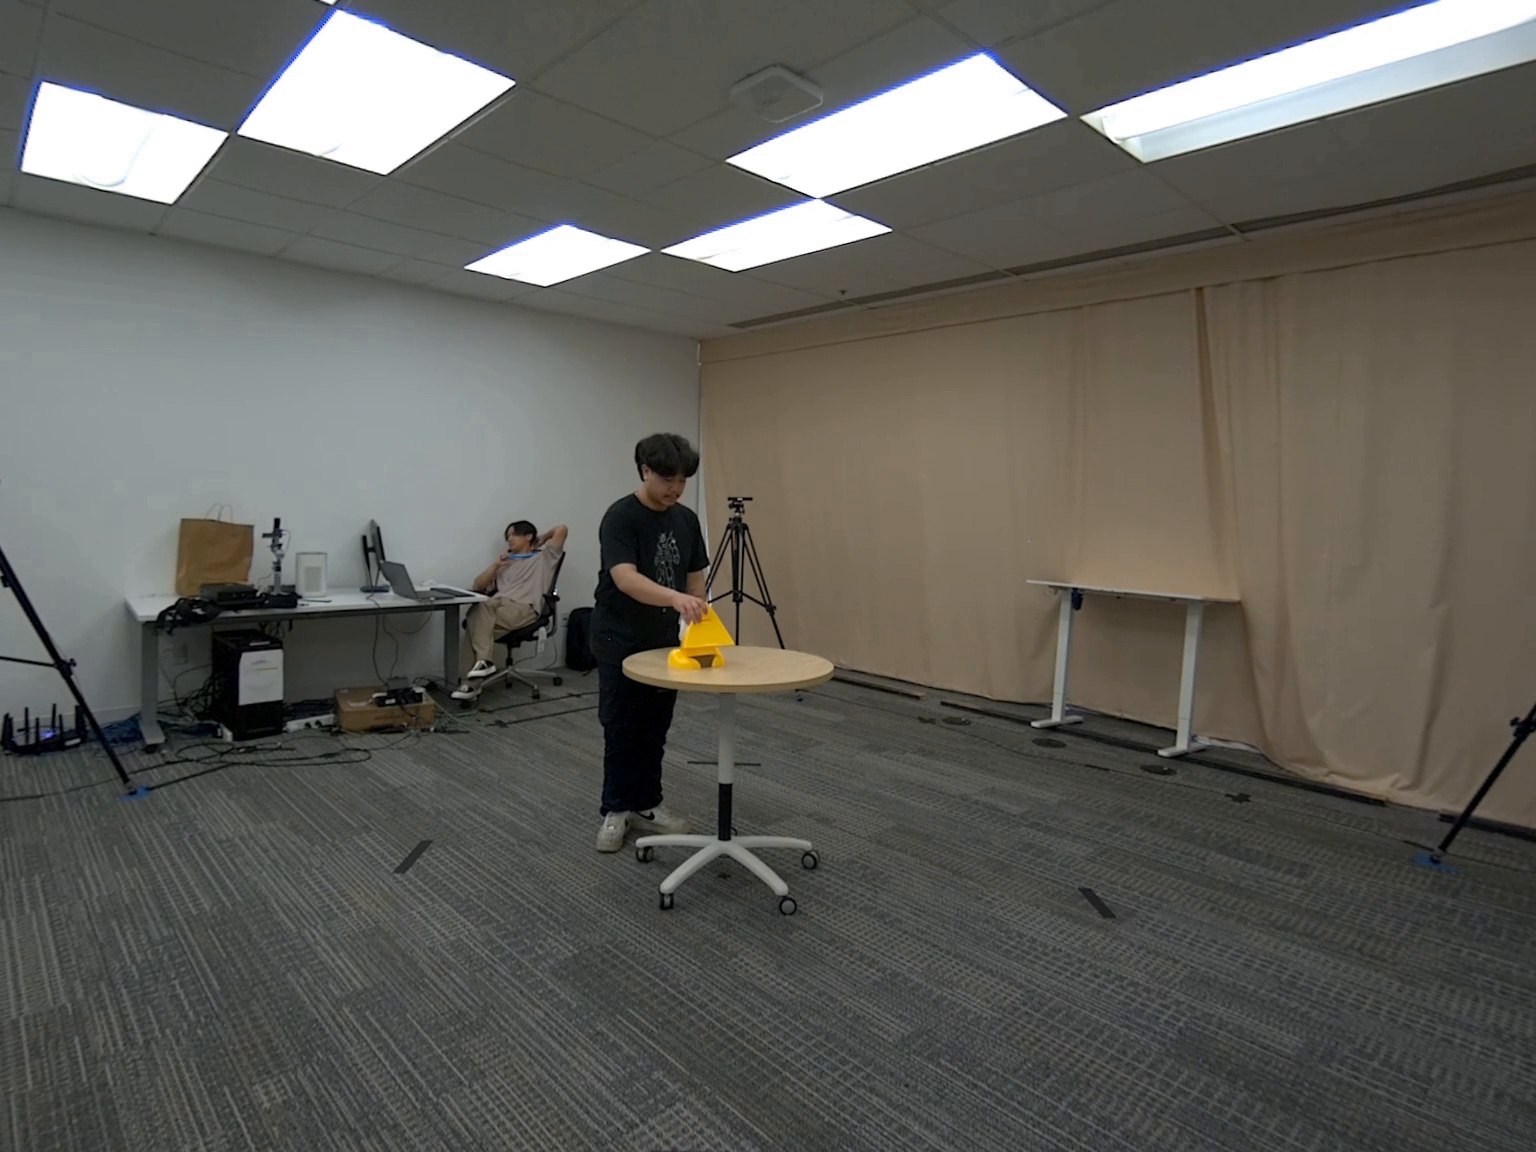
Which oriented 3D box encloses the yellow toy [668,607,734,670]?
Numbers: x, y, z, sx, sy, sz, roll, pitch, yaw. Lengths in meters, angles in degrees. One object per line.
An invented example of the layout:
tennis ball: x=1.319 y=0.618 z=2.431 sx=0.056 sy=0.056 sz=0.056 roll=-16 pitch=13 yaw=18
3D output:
yellow toy: x=-0.261 y=0.205 z=3.020 sx=0.200 sy=0.230 sz=0.197 roll=-2 pitch=5 yaw=-33
